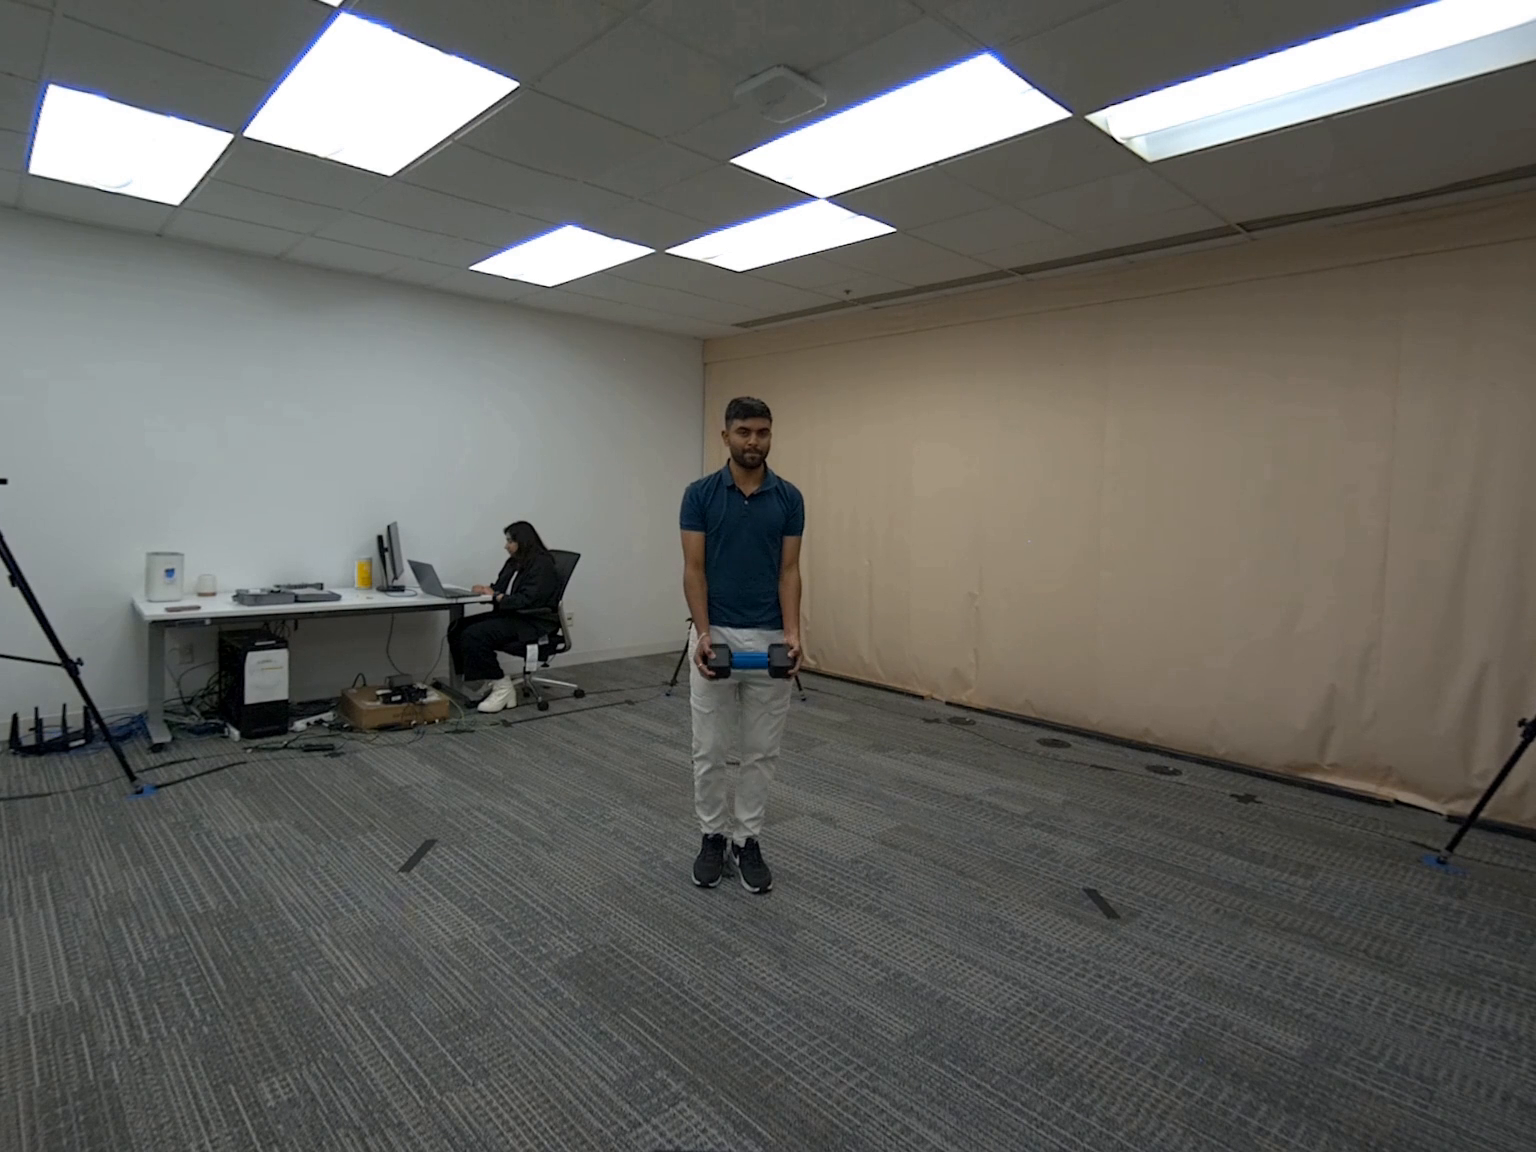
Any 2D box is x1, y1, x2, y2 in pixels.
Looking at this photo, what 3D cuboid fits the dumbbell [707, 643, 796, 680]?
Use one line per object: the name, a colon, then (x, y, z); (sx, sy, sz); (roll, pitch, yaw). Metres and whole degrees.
dumbbell: (-0.087, 0.276, 2.875); (0.292, 0.121, 0.111); (2, 41, -7)
